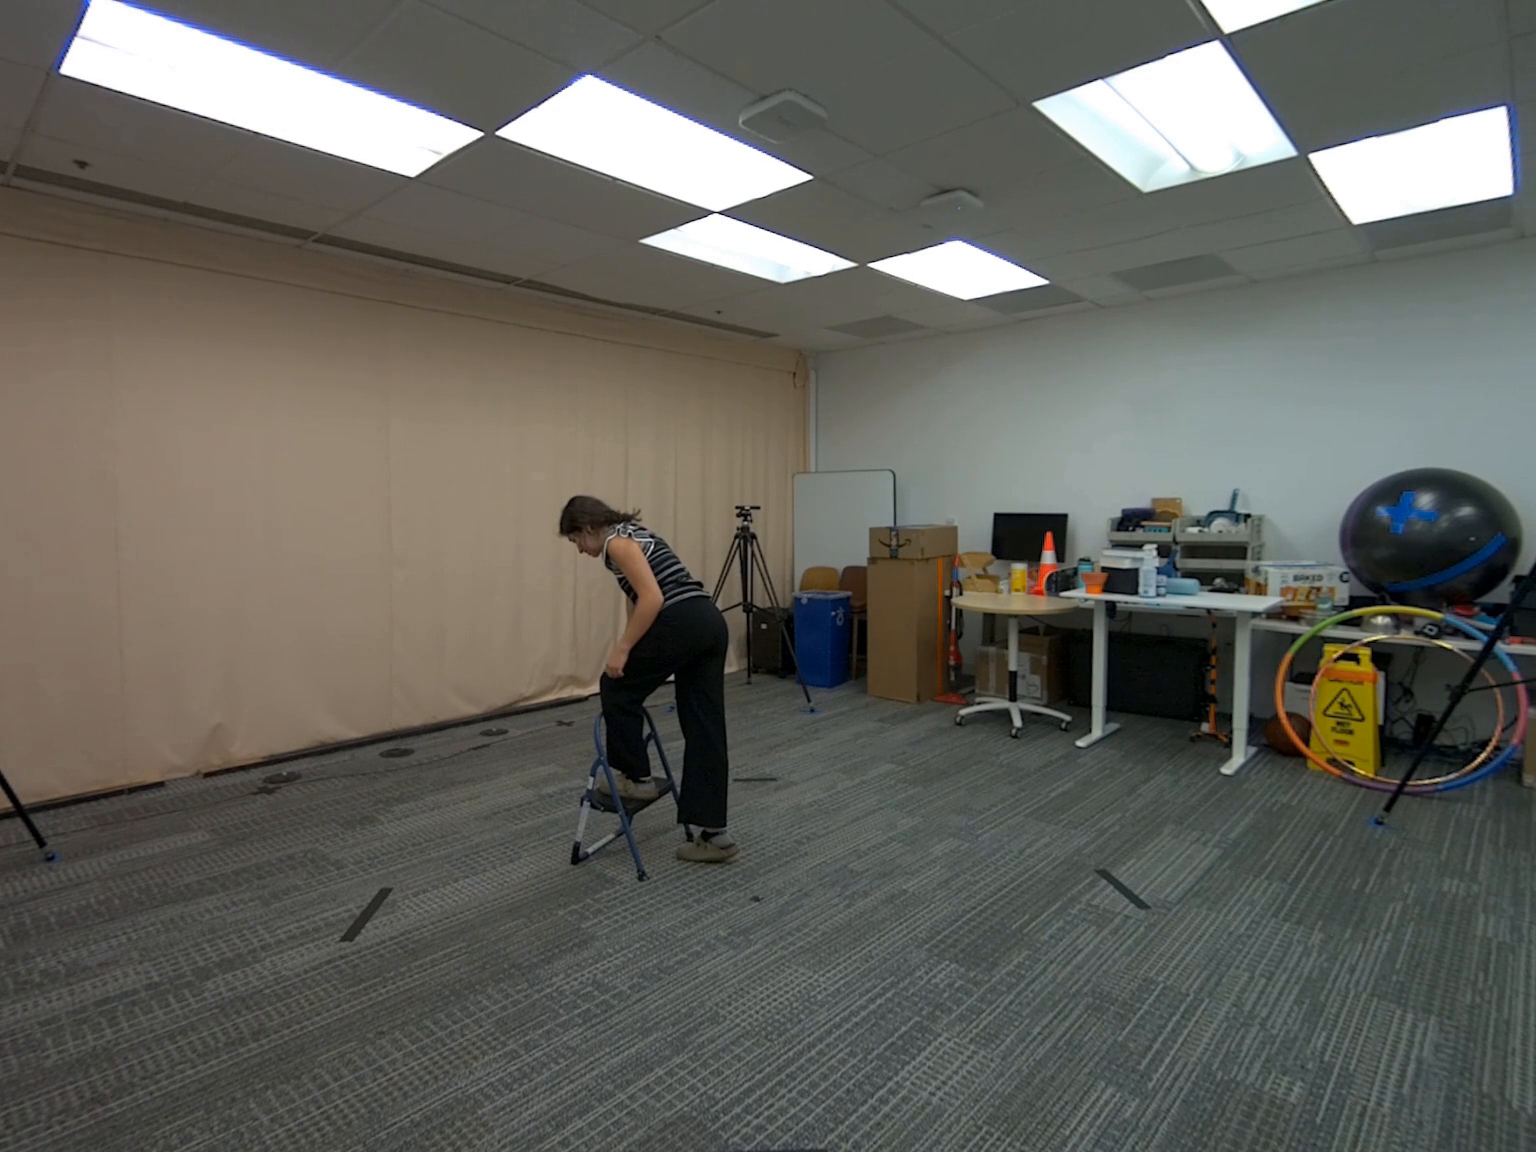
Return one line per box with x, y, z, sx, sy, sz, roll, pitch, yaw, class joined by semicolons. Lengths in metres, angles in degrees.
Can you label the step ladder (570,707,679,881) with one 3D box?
-0.538;0.814;3.383;0.358;0.605;0.421;0;3;23;step ladder
